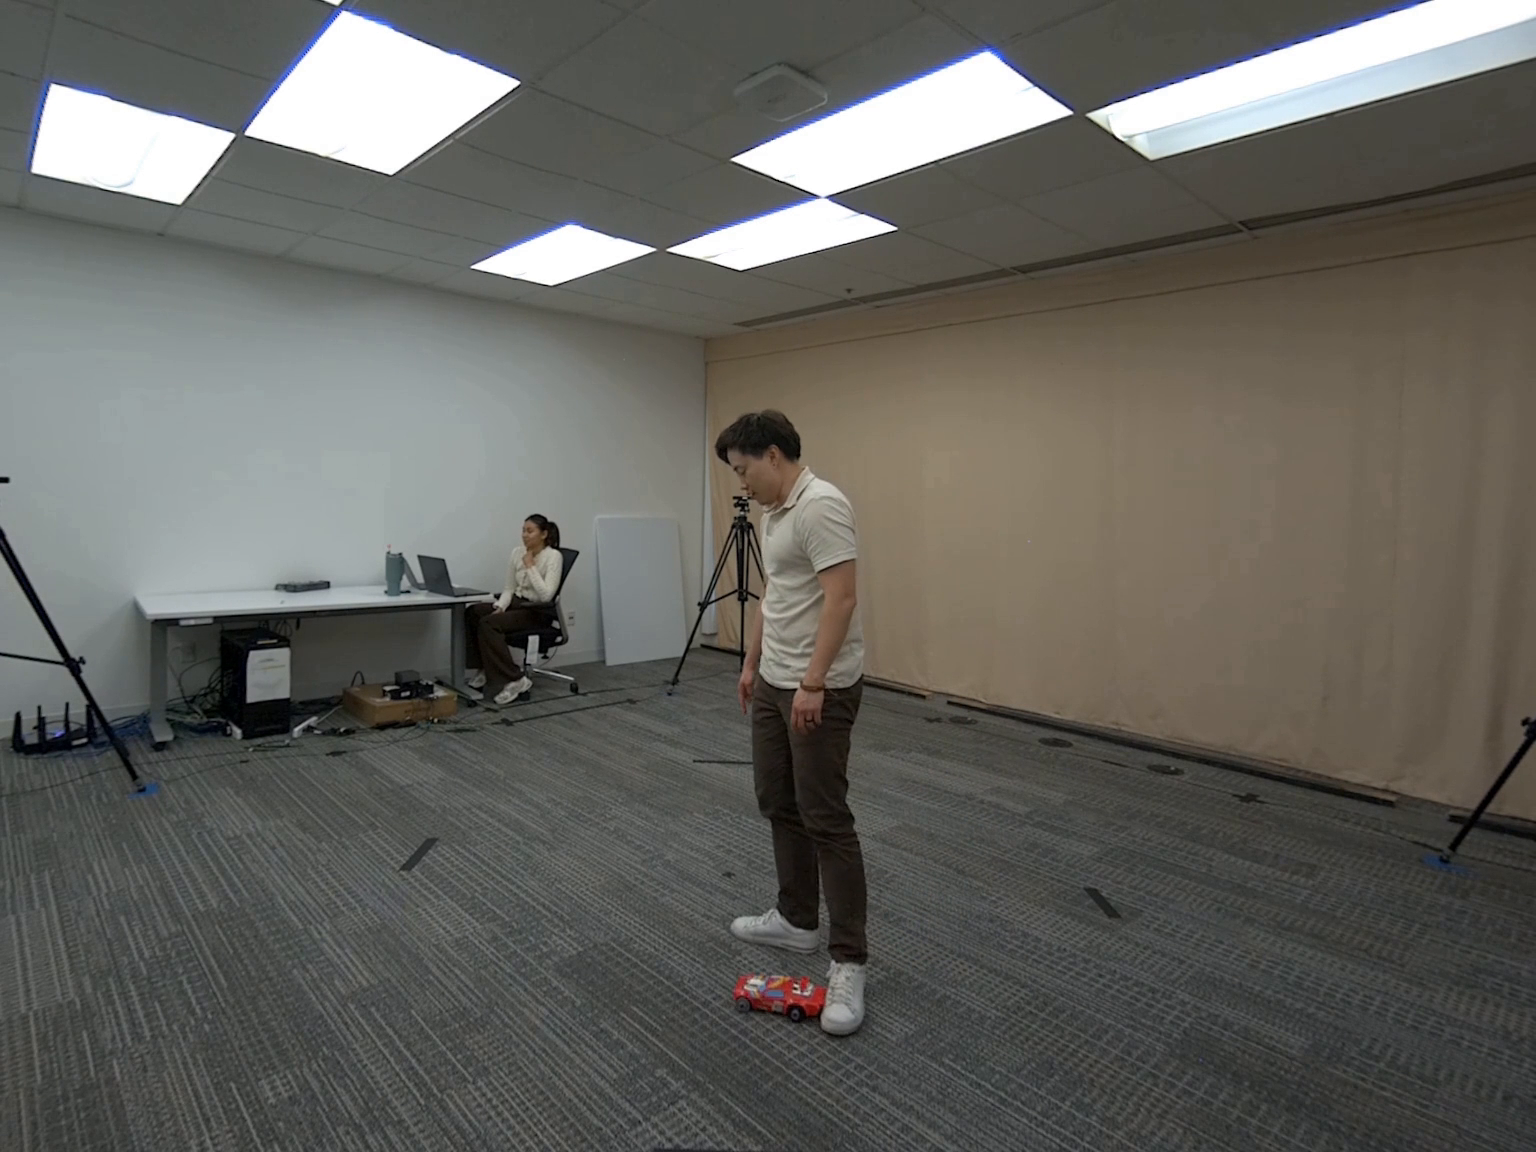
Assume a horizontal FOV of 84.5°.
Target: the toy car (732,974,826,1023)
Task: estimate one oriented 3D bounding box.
[{"bbox_3d":[0.031,1.148,2.302,0.257,0.083,0.129,-8,1,16],"label":"toy car"}]
